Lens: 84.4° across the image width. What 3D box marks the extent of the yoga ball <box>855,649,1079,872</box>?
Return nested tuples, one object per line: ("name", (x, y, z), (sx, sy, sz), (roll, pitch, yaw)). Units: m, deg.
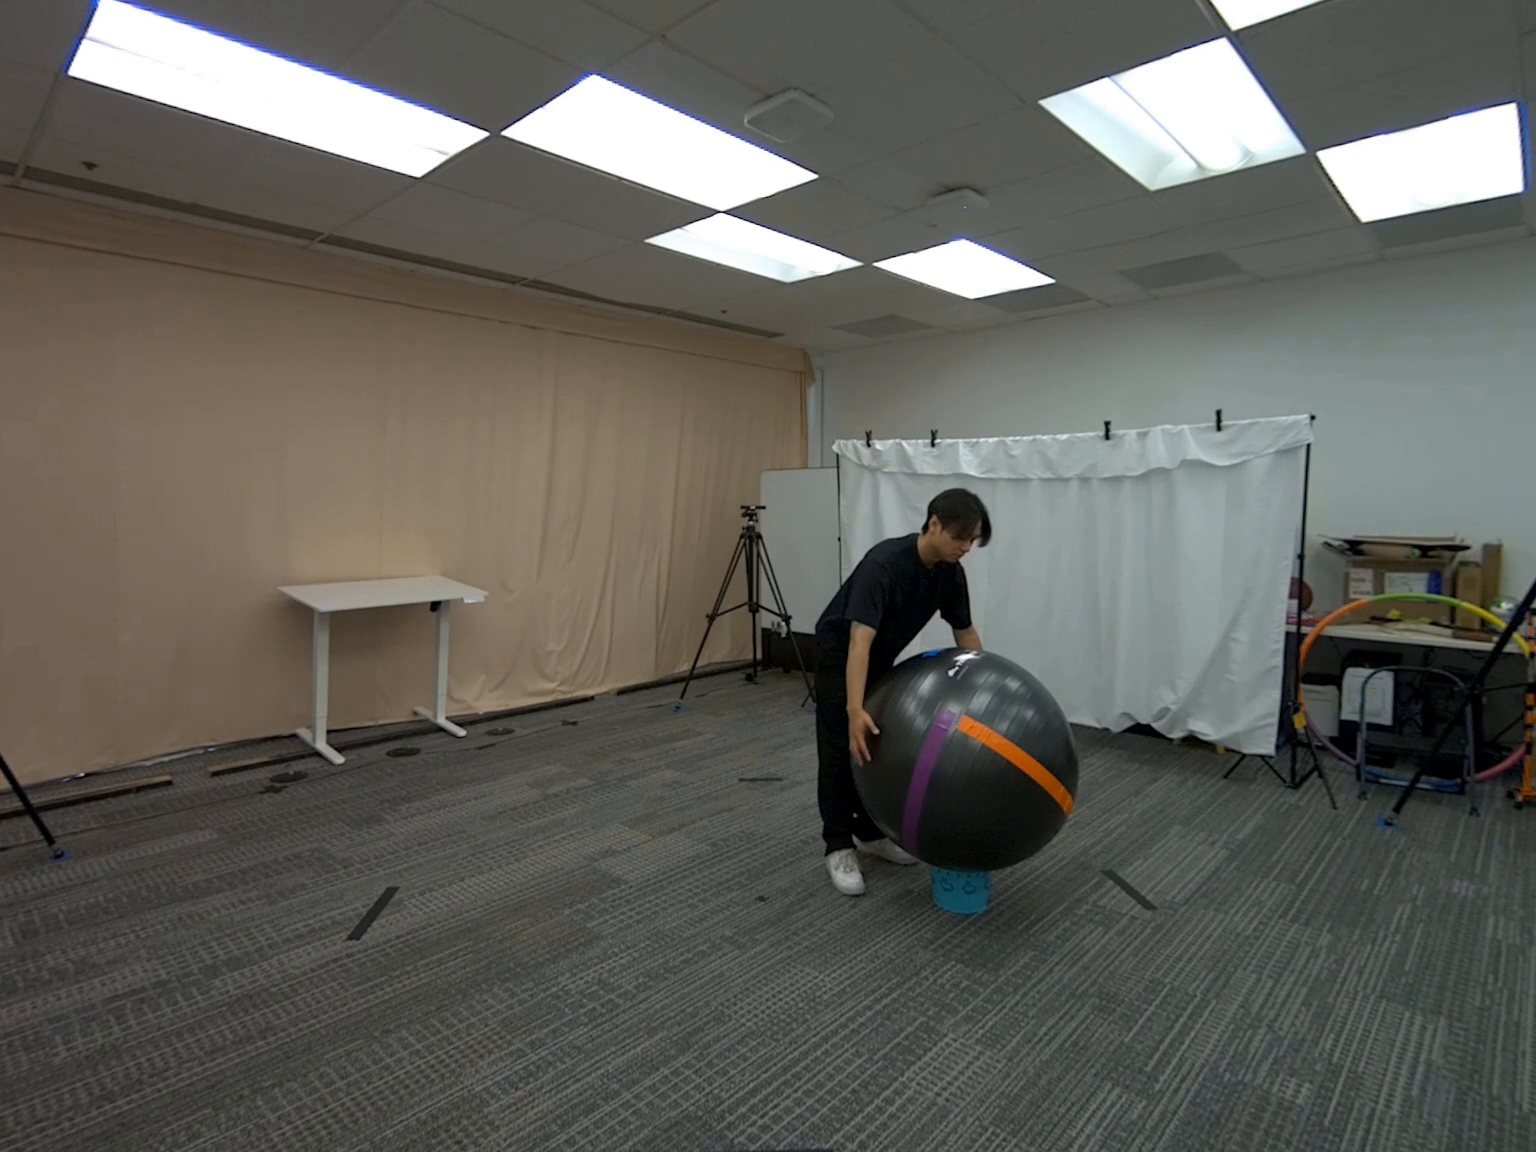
("yoga ball", (0.678, 0.634, 2.929), (0.757, 0.756, 0.760), (0, 4, -2))
